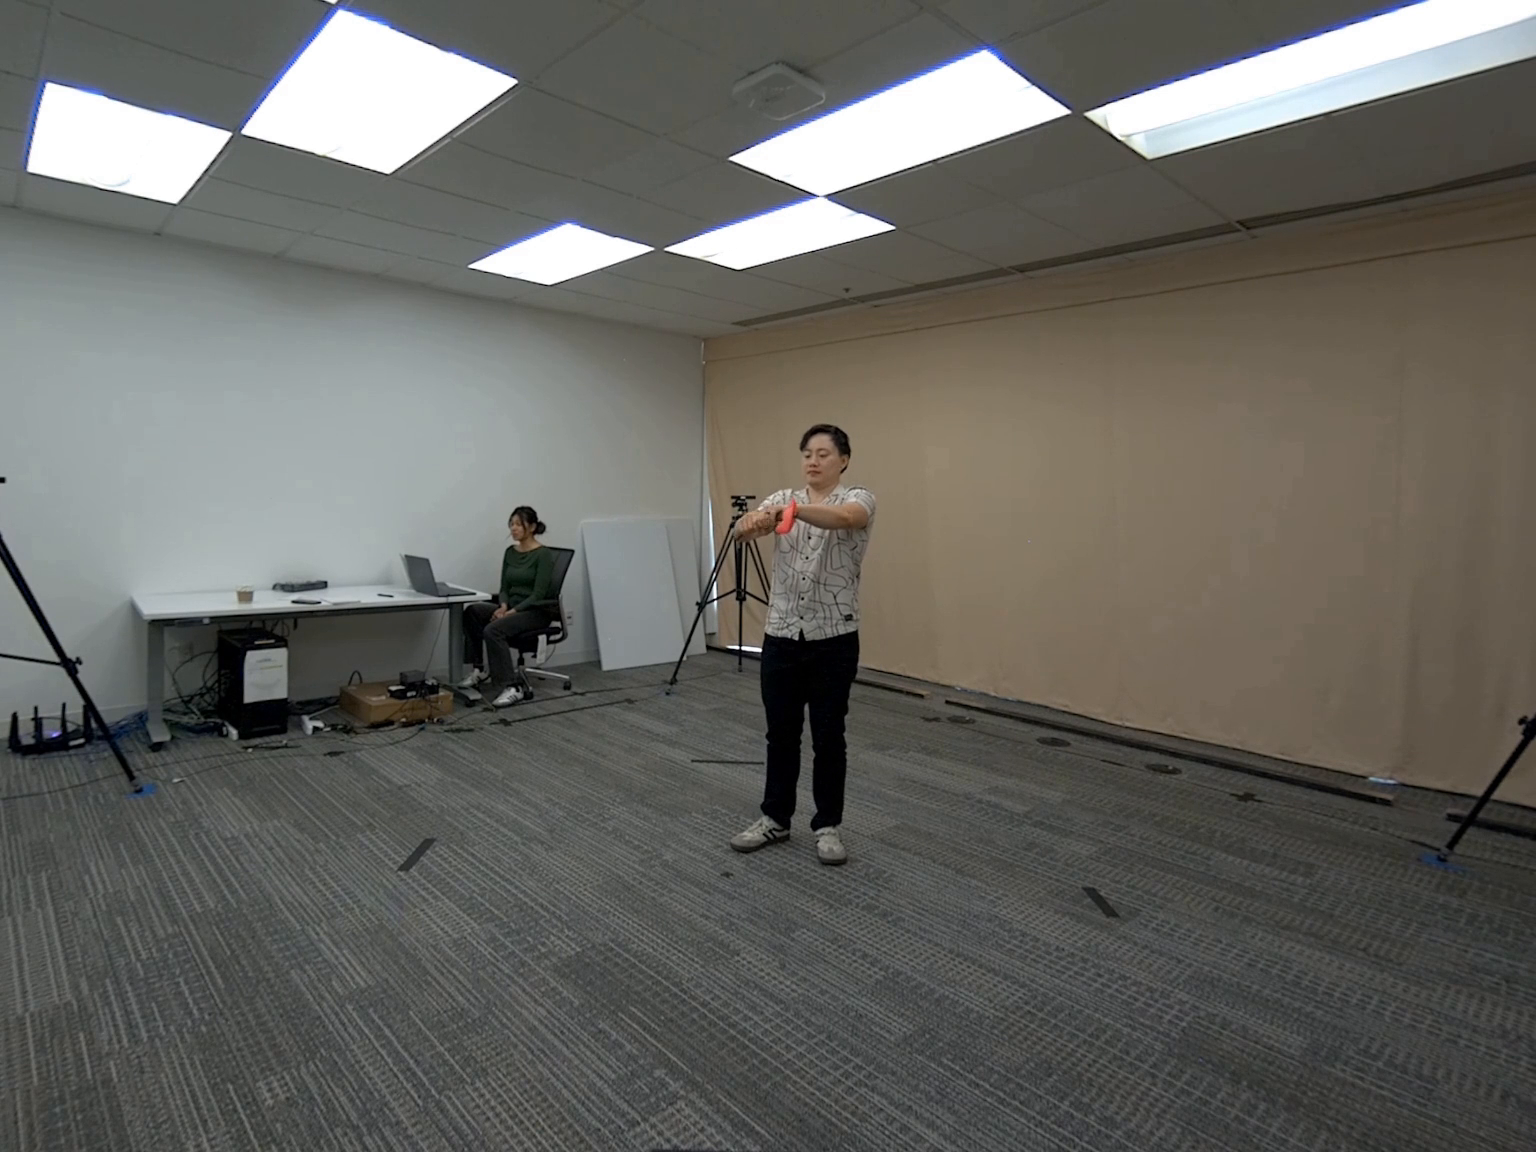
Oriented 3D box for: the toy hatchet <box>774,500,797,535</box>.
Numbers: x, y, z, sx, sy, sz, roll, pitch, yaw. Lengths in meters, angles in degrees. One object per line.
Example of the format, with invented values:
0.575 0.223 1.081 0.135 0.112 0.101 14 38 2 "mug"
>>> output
-0.022 -0.165 2.859 0.272 0.134 0.029 -27 -36 27 "toy hatchet"
